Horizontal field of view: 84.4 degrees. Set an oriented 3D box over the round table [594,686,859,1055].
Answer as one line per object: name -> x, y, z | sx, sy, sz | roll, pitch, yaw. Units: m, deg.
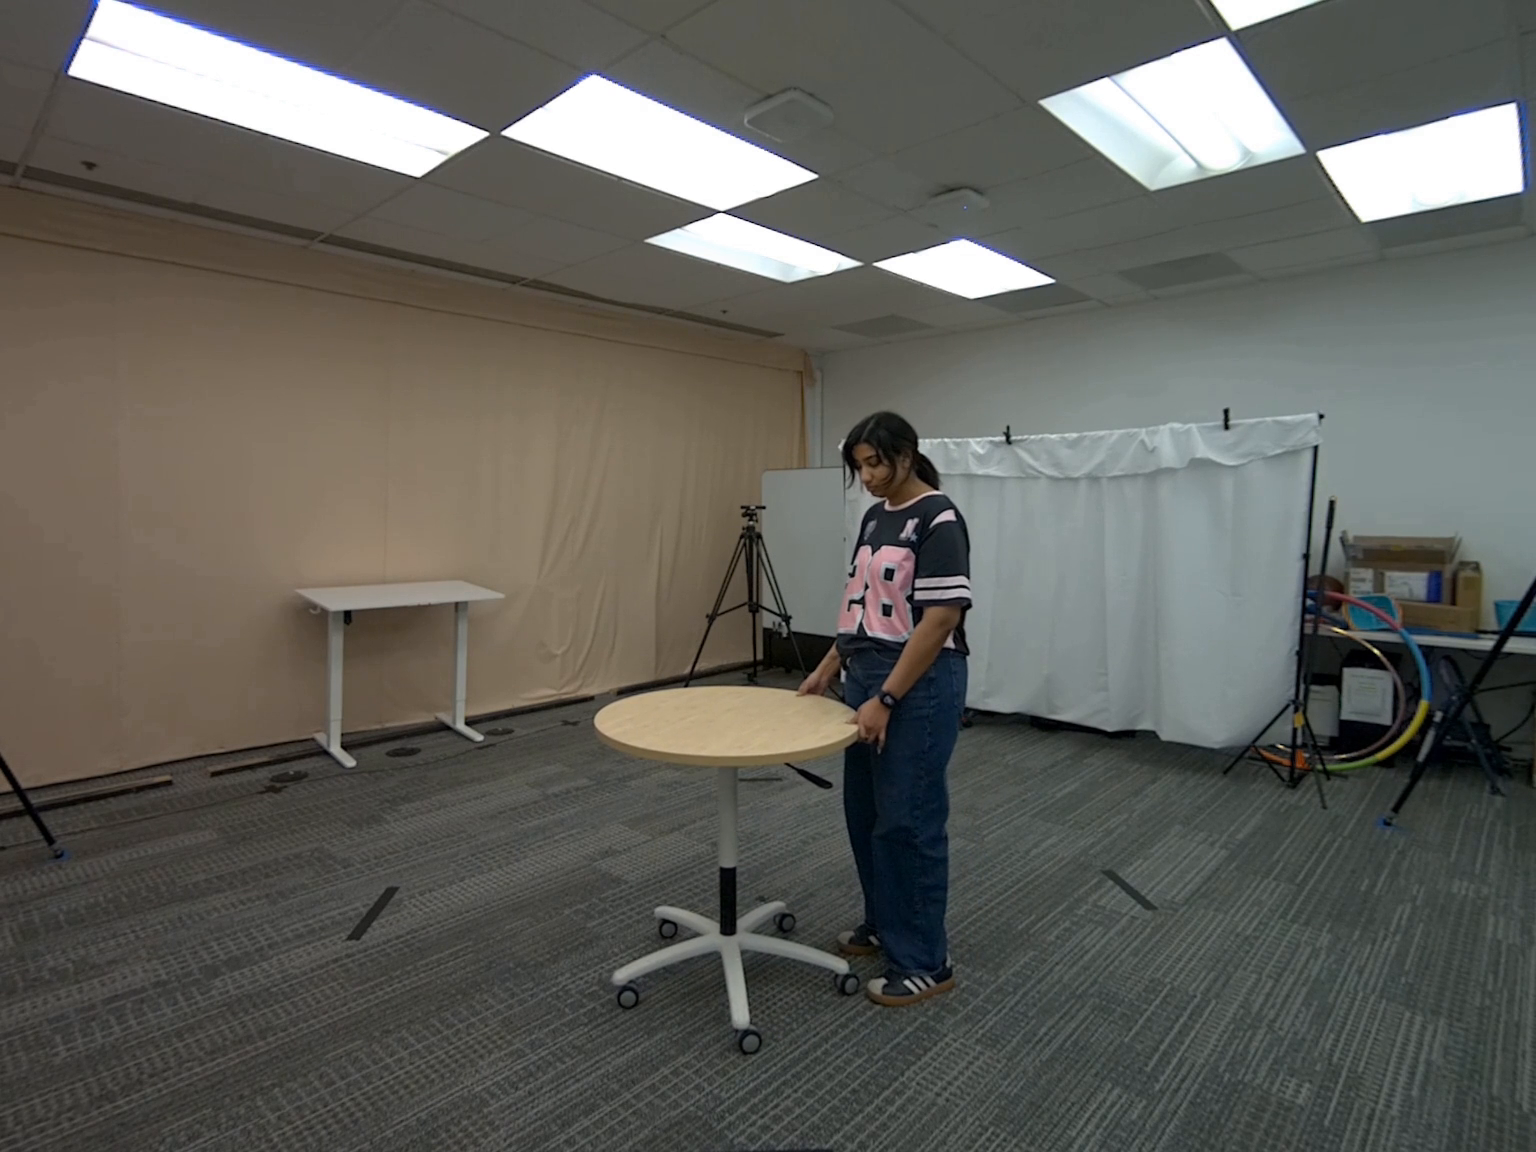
round table -> -0.114, 0.804, 2.466 | 0.763, 0.792, 0.766 | 0, 4, -2
